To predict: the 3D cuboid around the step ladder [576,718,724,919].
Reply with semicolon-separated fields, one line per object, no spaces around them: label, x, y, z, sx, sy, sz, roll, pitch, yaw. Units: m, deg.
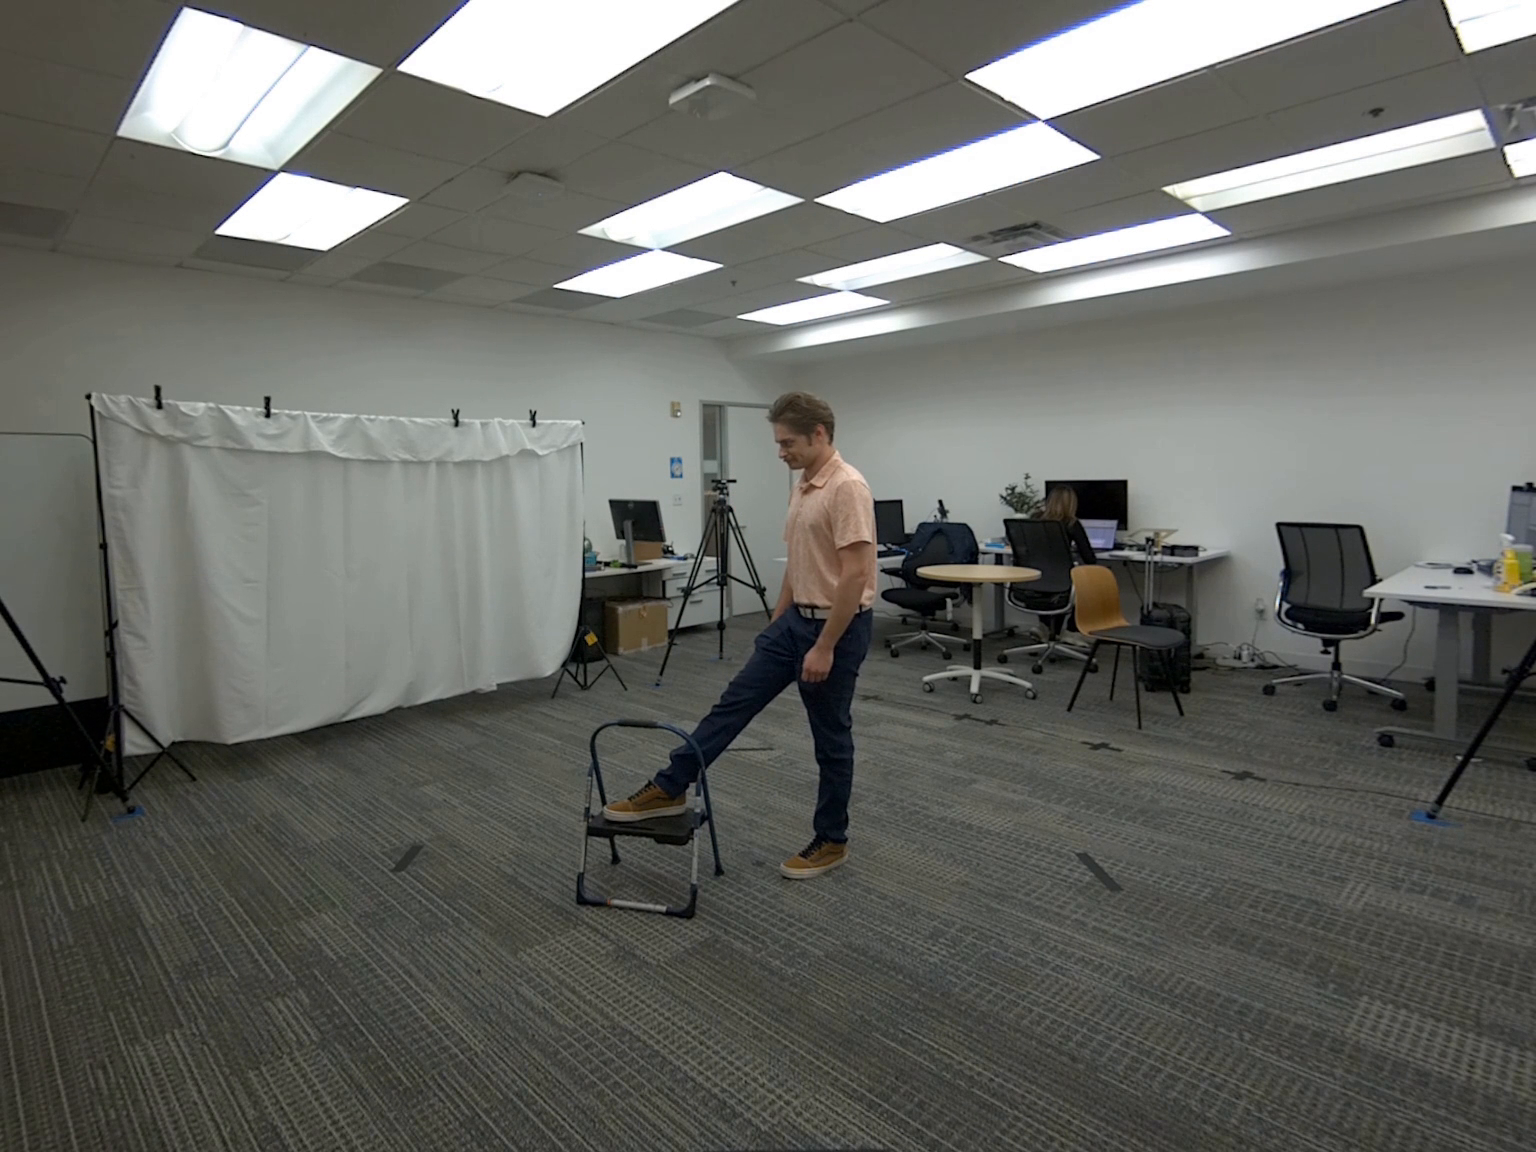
step ladder;-0.405;0.776;2.918;0.437;0.604;0.346;0;4;14
